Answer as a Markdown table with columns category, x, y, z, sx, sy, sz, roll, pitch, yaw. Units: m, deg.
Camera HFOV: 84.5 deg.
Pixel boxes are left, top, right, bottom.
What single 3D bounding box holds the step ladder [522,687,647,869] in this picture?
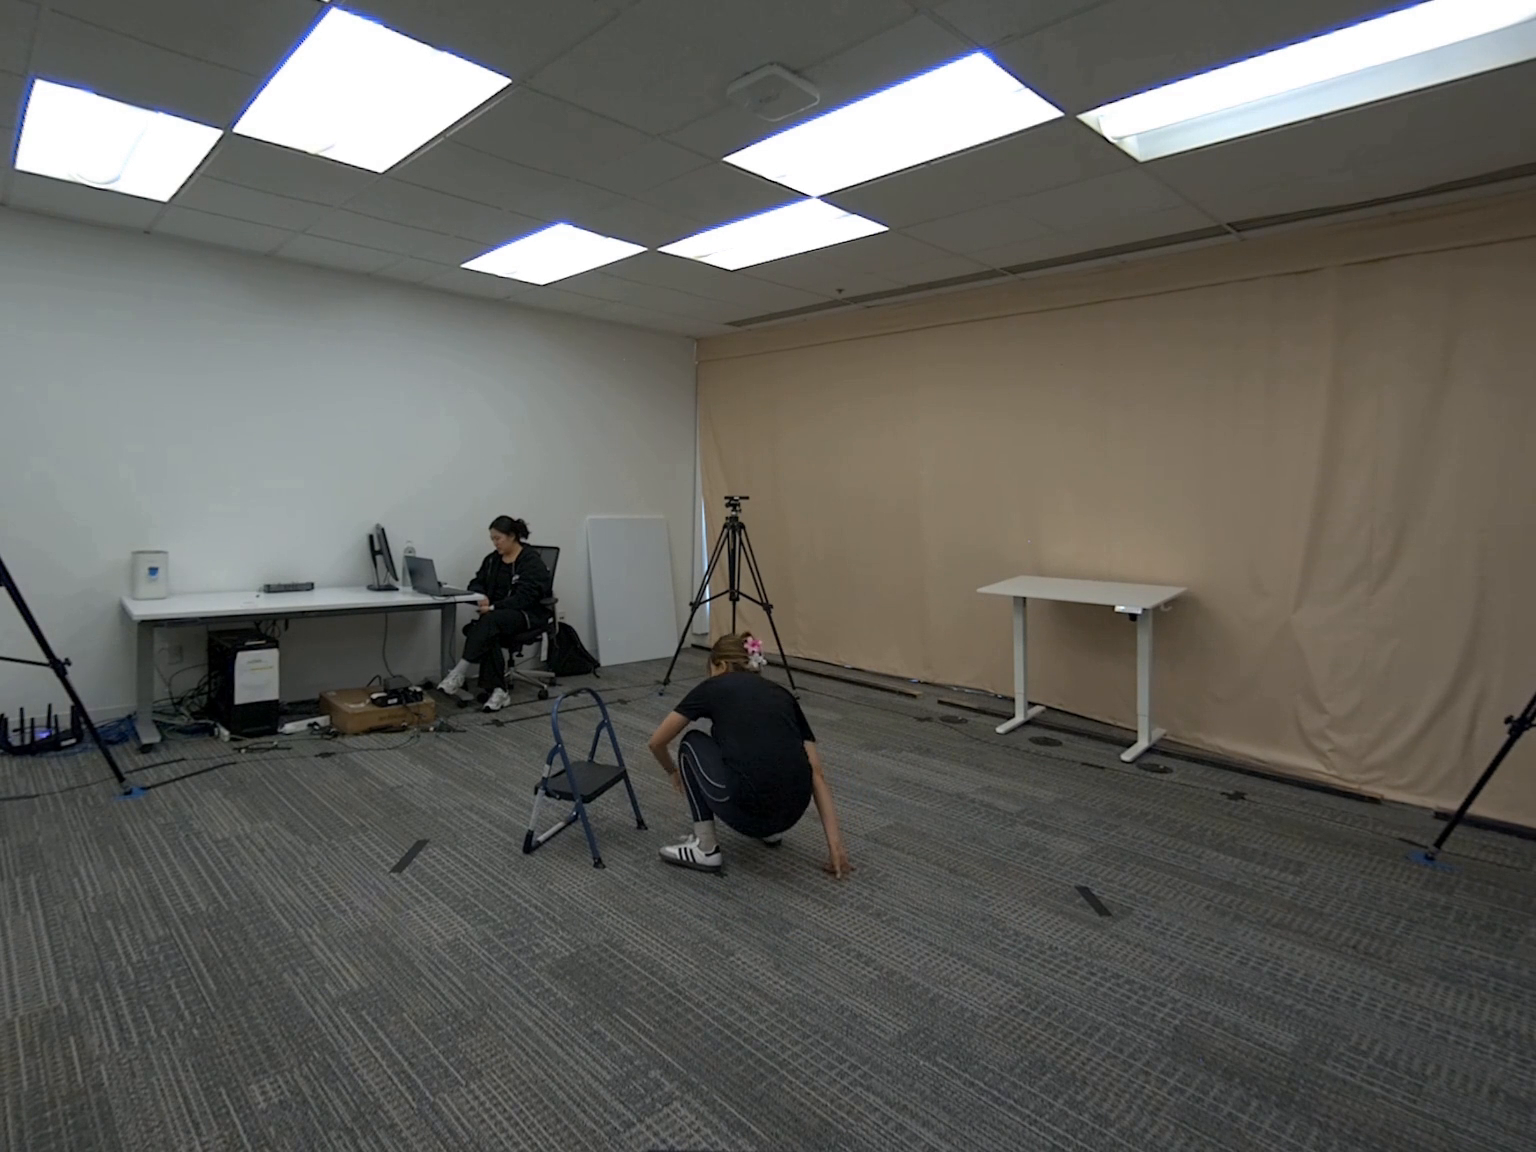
| category | x | y | z | sx | sy | sz | roll | pitch | yaw |
| --- | --- | --- | --- | --- | --- | --- | --- | --- | --- |
| step ladder | -0.721 | 0.758 | 3.374 | 0.354 | 0.604 | 0.426 | 2 | 4 | 16 |
